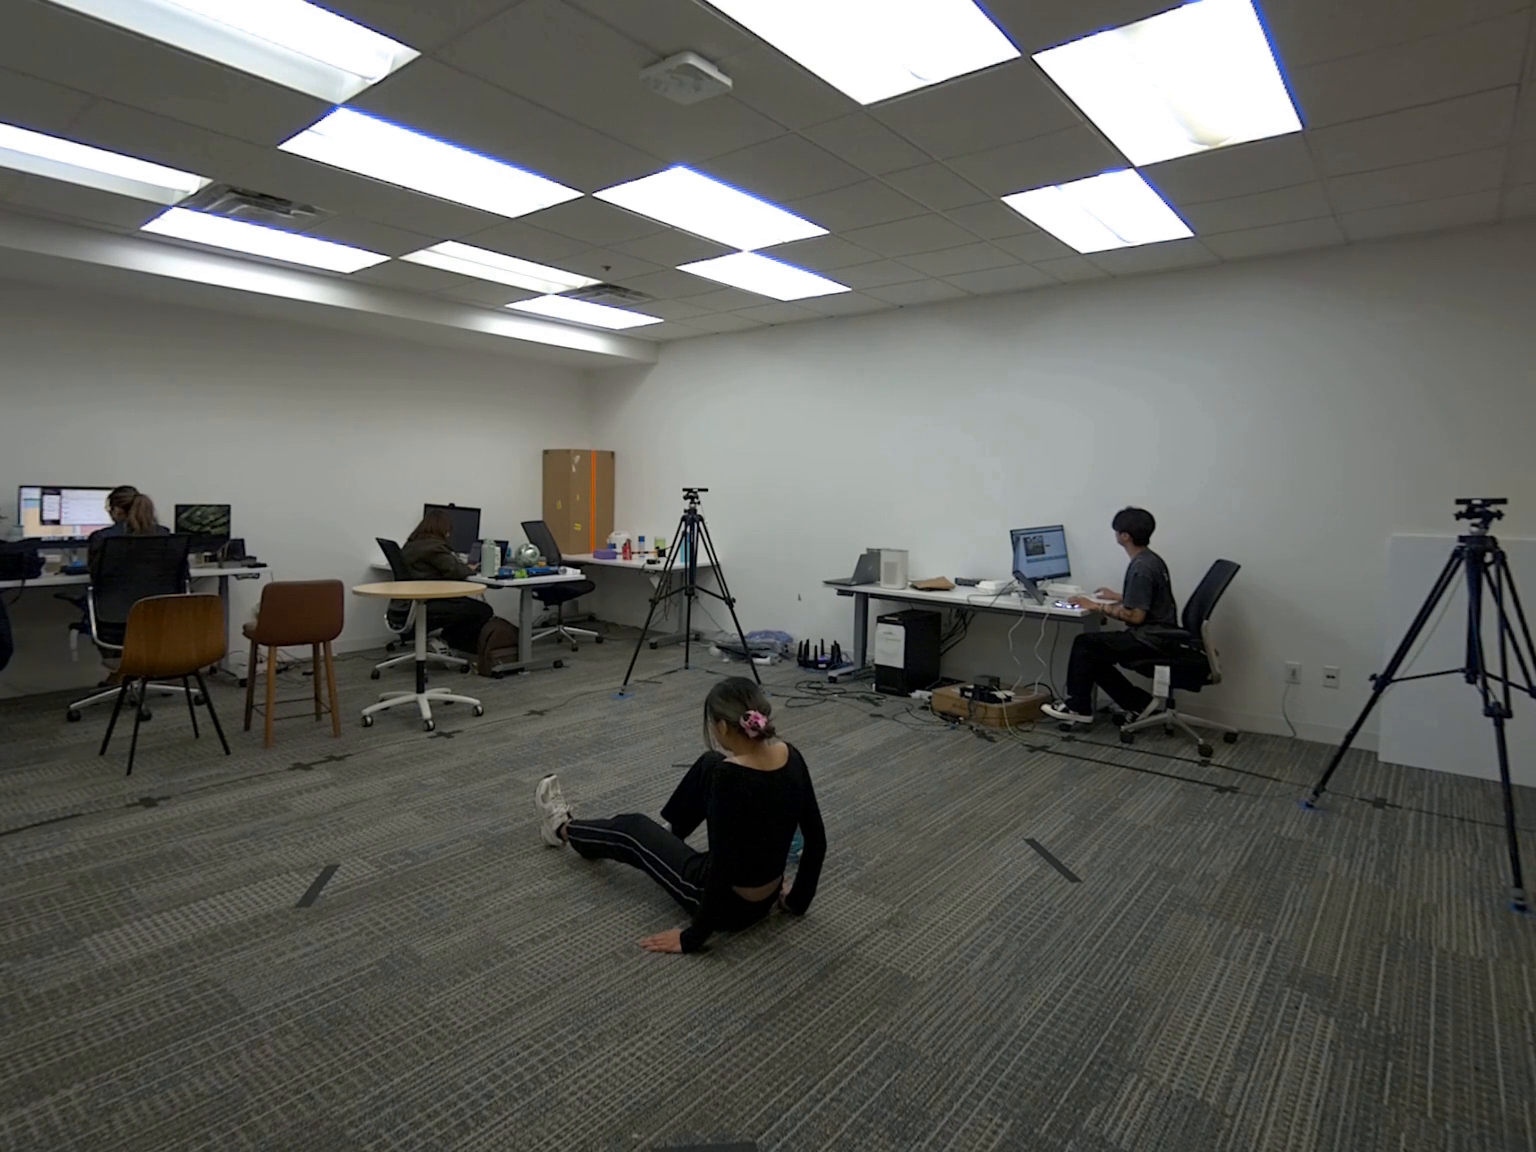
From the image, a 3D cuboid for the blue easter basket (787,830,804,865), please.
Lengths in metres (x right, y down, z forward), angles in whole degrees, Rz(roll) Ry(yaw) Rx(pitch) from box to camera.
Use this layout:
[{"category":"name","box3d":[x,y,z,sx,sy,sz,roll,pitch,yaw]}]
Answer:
[{"category":"blue easter basket","box3d":[0.049,0.973,3.264,0.243,0.155,0.245,1,4,-2]}]
